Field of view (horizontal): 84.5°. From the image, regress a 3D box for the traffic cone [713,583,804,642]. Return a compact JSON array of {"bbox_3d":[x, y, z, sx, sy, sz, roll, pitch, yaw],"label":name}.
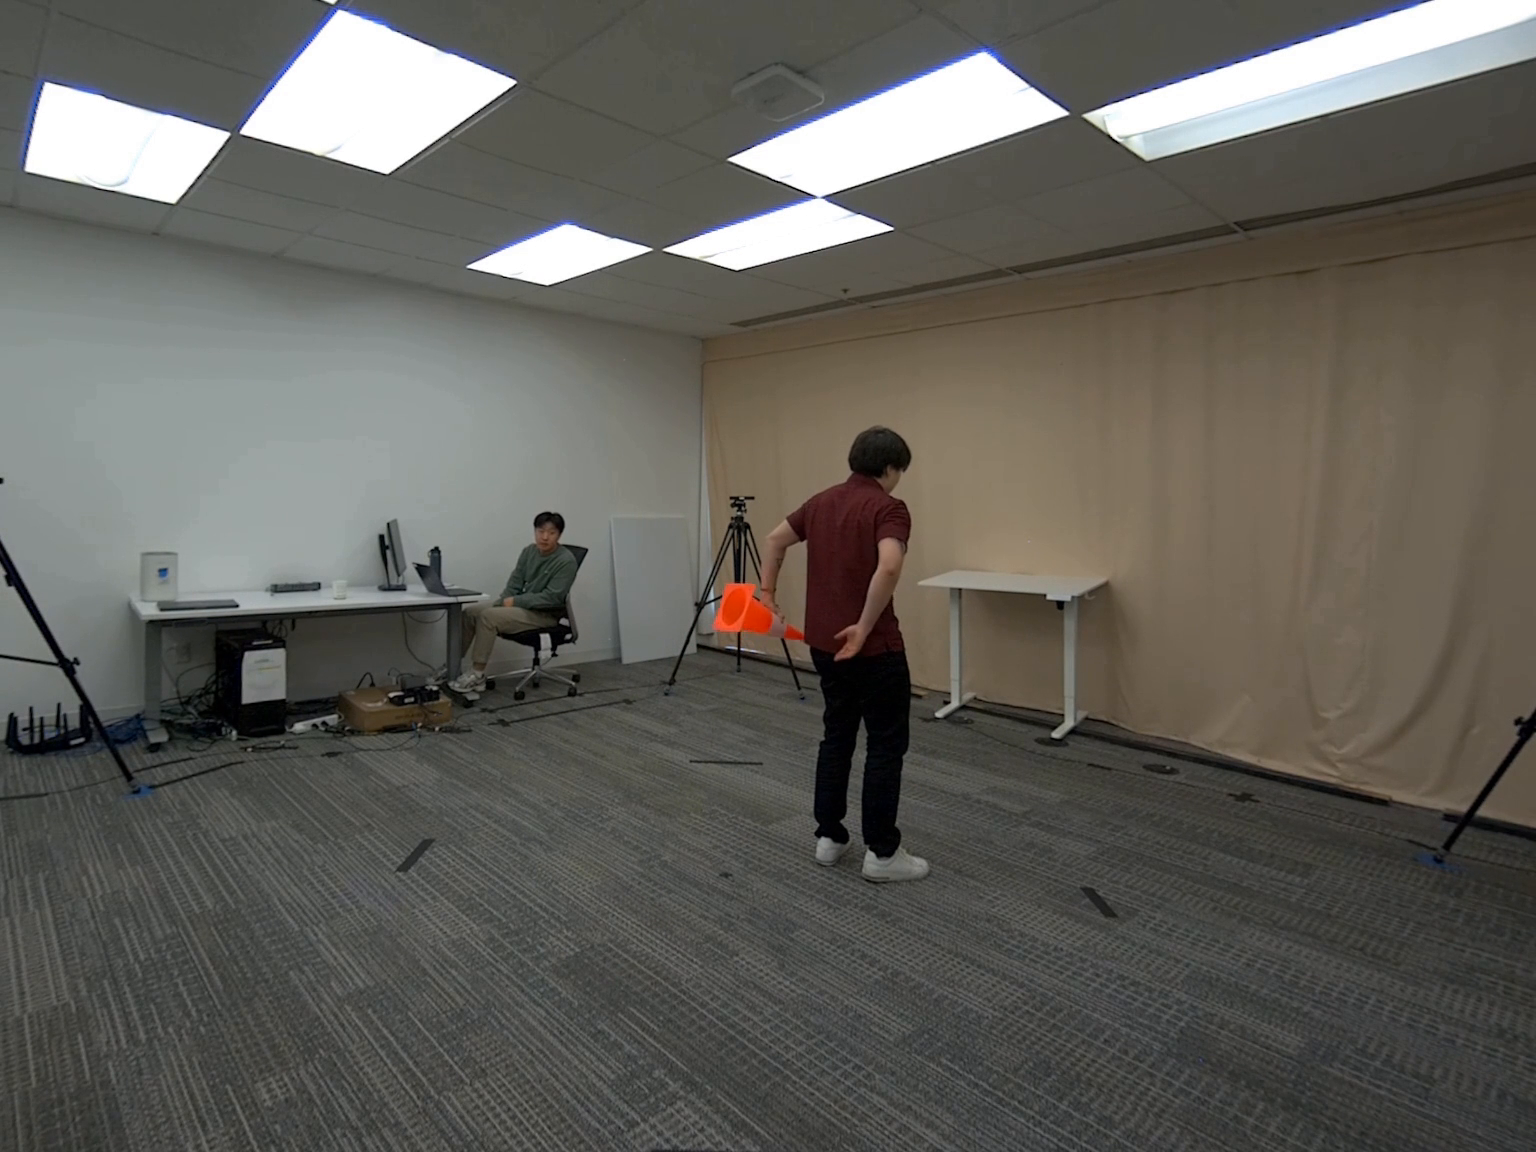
[{"bbox_3d":[0.004,0.193,3.422,0.373,0.204,0.209,27,-15,-32],"label":"traffic cone"}]
